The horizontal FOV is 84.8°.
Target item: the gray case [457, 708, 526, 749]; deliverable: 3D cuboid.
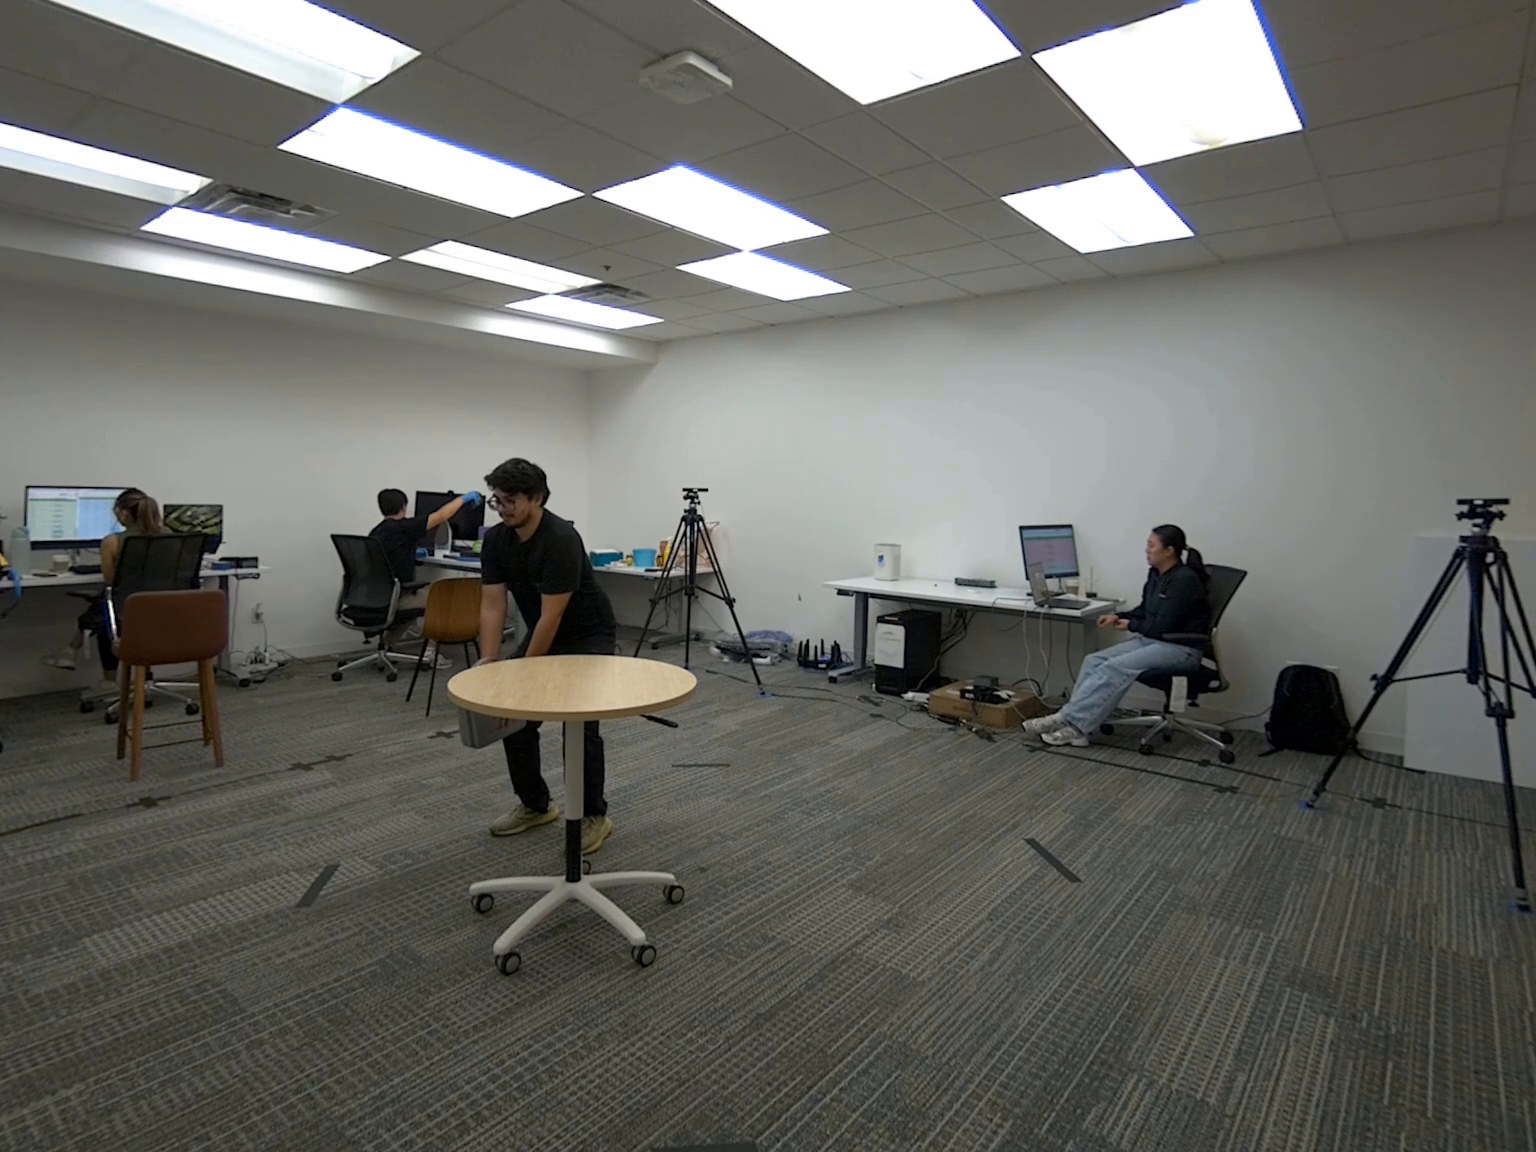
[{"bbox_3d":[-1.027,0.465,3.082,0.107,0.259,0.252,-8,7,28],"label":"gray case"}]
